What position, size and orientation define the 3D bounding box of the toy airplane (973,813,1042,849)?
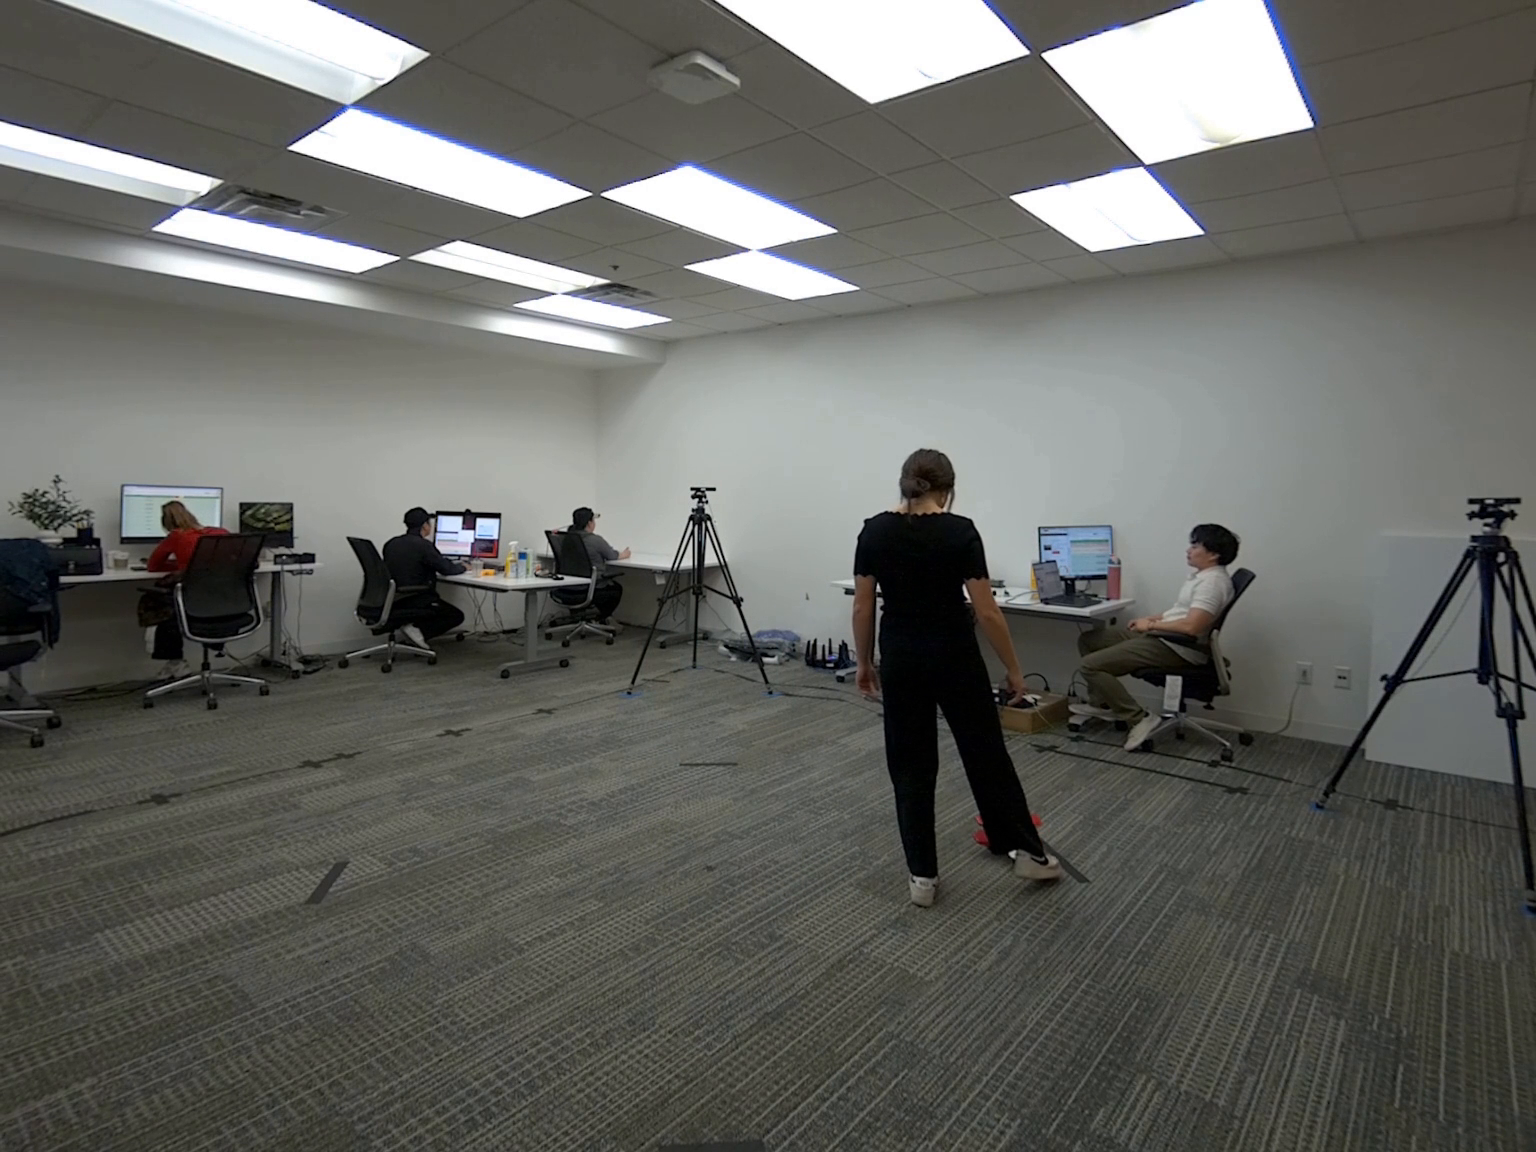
[{"bbox_3d":[0.939,0.996,3.262,0.244,0.156,0.268,-3,6,-37],"label":"toy airplane"}]
